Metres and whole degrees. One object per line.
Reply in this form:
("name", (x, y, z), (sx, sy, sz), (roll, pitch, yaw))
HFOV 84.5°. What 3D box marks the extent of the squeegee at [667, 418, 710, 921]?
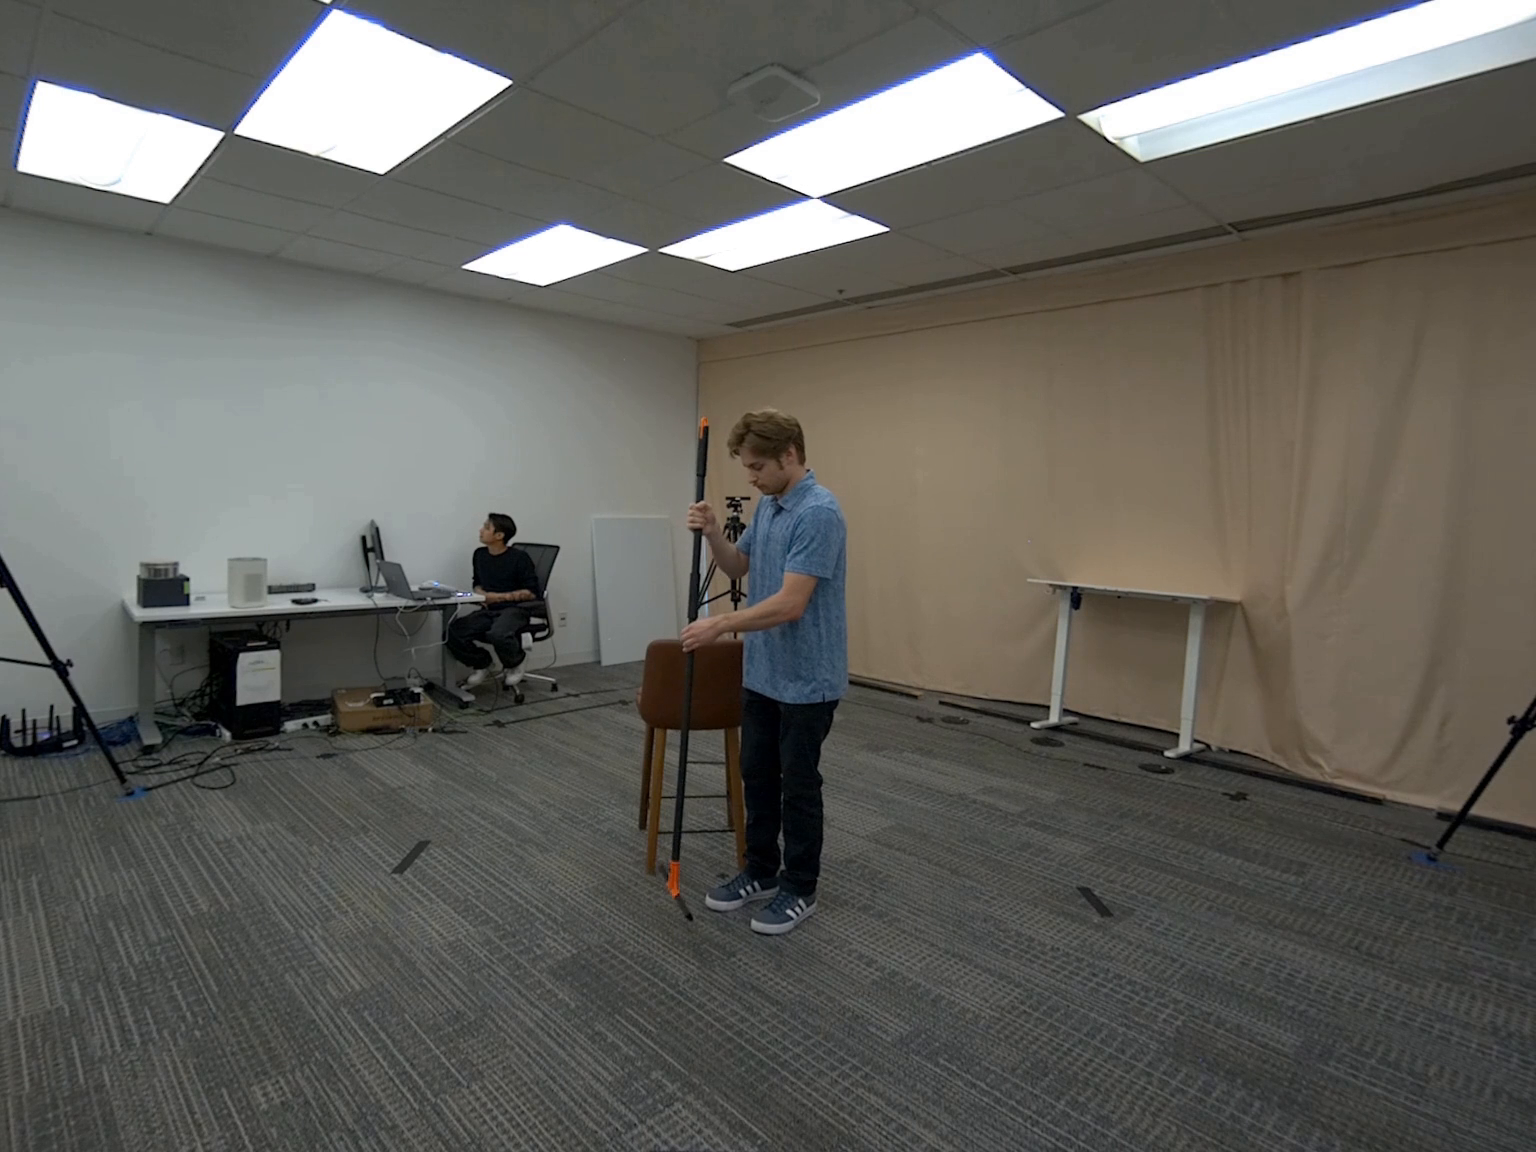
("squeegee", (-0.260, 0.275, 2.670), (0.052, 1.538, 0.444), (3, 0, -19))
